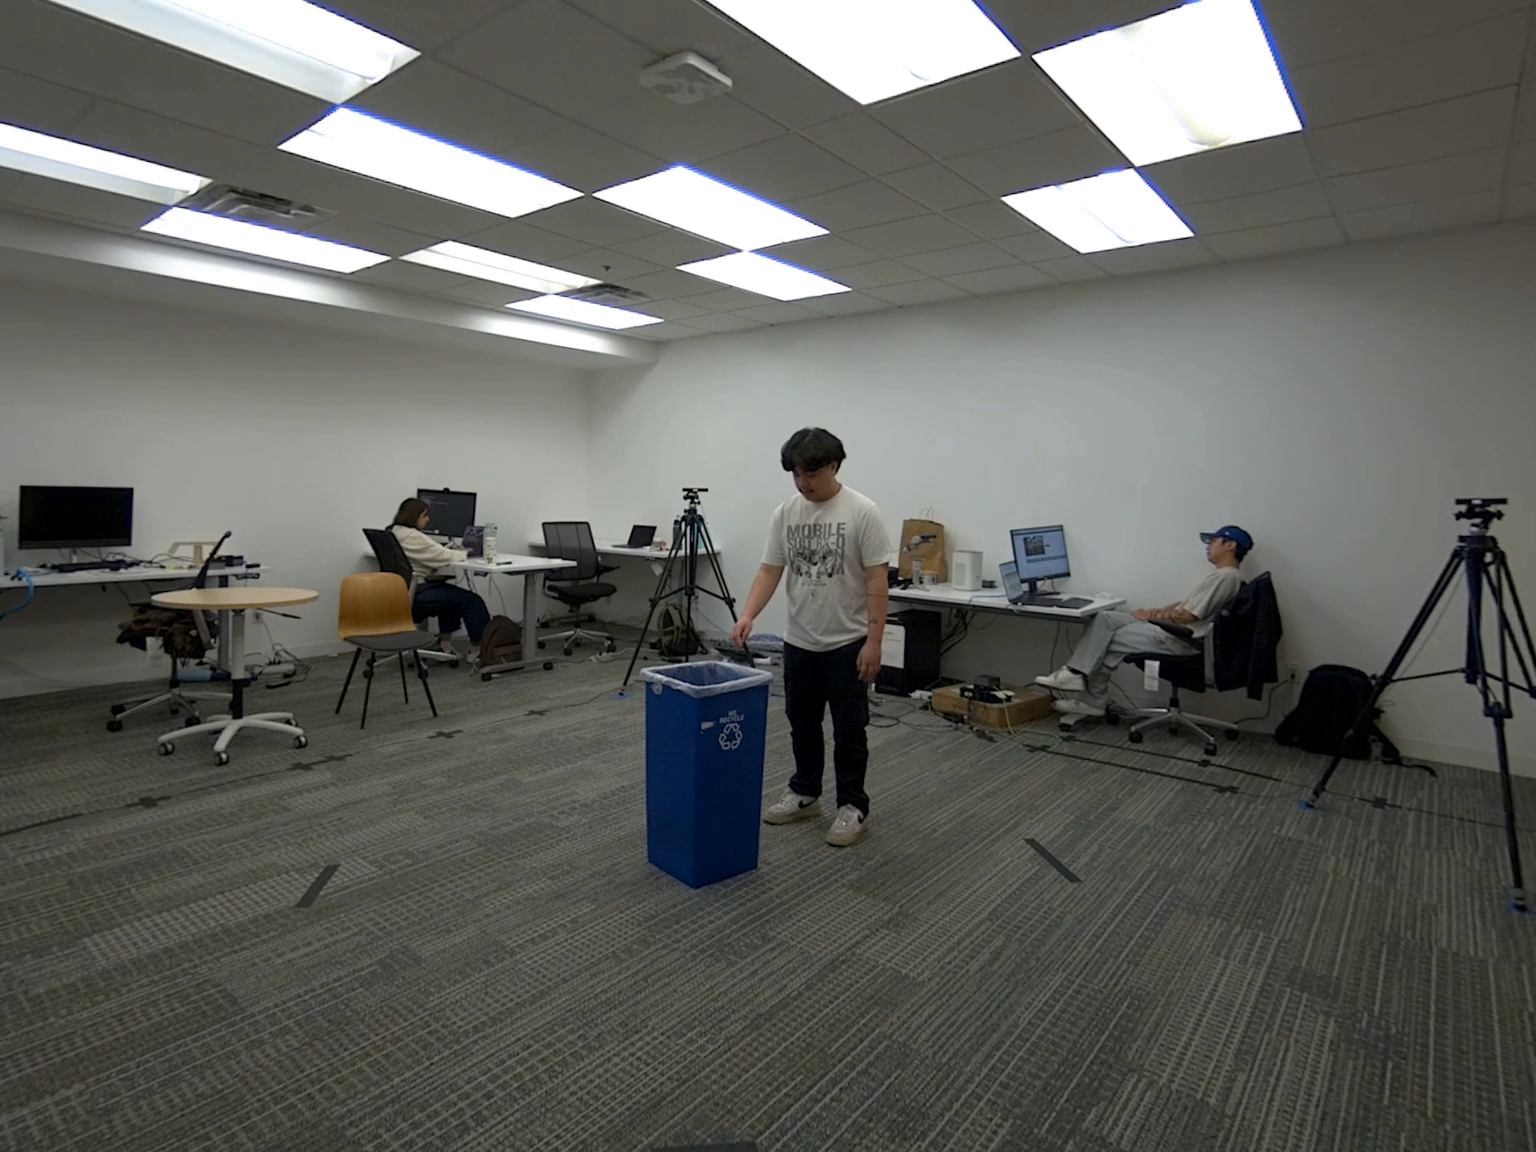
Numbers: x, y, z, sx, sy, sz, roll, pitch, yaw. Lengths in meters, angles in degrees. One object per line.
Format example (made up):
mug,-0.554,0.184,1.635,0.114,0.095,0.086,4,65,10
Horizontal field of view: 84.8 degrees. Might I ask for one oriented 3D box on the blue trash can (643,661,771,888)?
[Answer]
blue trash can,-0.241,0.707,3.145,0.363,0.711,0.391,-2,4,-41
